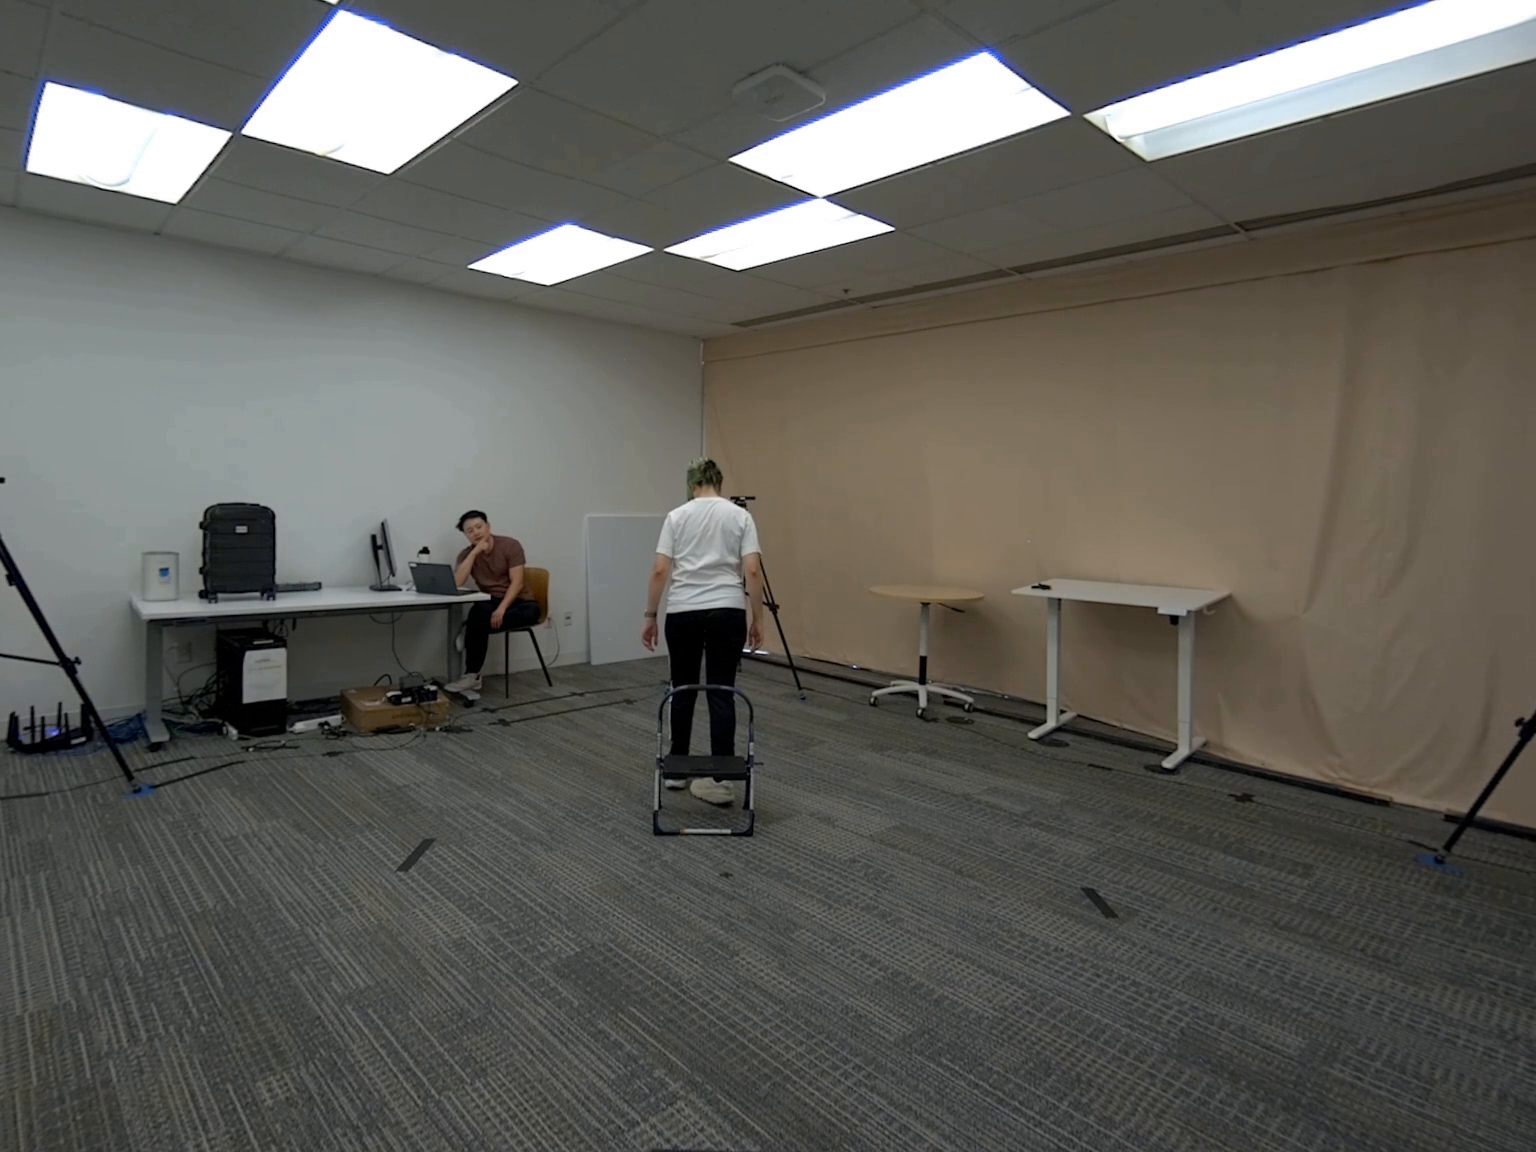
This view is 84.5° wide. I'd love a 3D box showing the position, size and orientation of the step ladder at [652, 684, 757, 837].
[{"bbox_3d":[-0.278,0.758,3.612,0.429,0.605,0.351,1,3,-5],"label":"step ladder"}]
